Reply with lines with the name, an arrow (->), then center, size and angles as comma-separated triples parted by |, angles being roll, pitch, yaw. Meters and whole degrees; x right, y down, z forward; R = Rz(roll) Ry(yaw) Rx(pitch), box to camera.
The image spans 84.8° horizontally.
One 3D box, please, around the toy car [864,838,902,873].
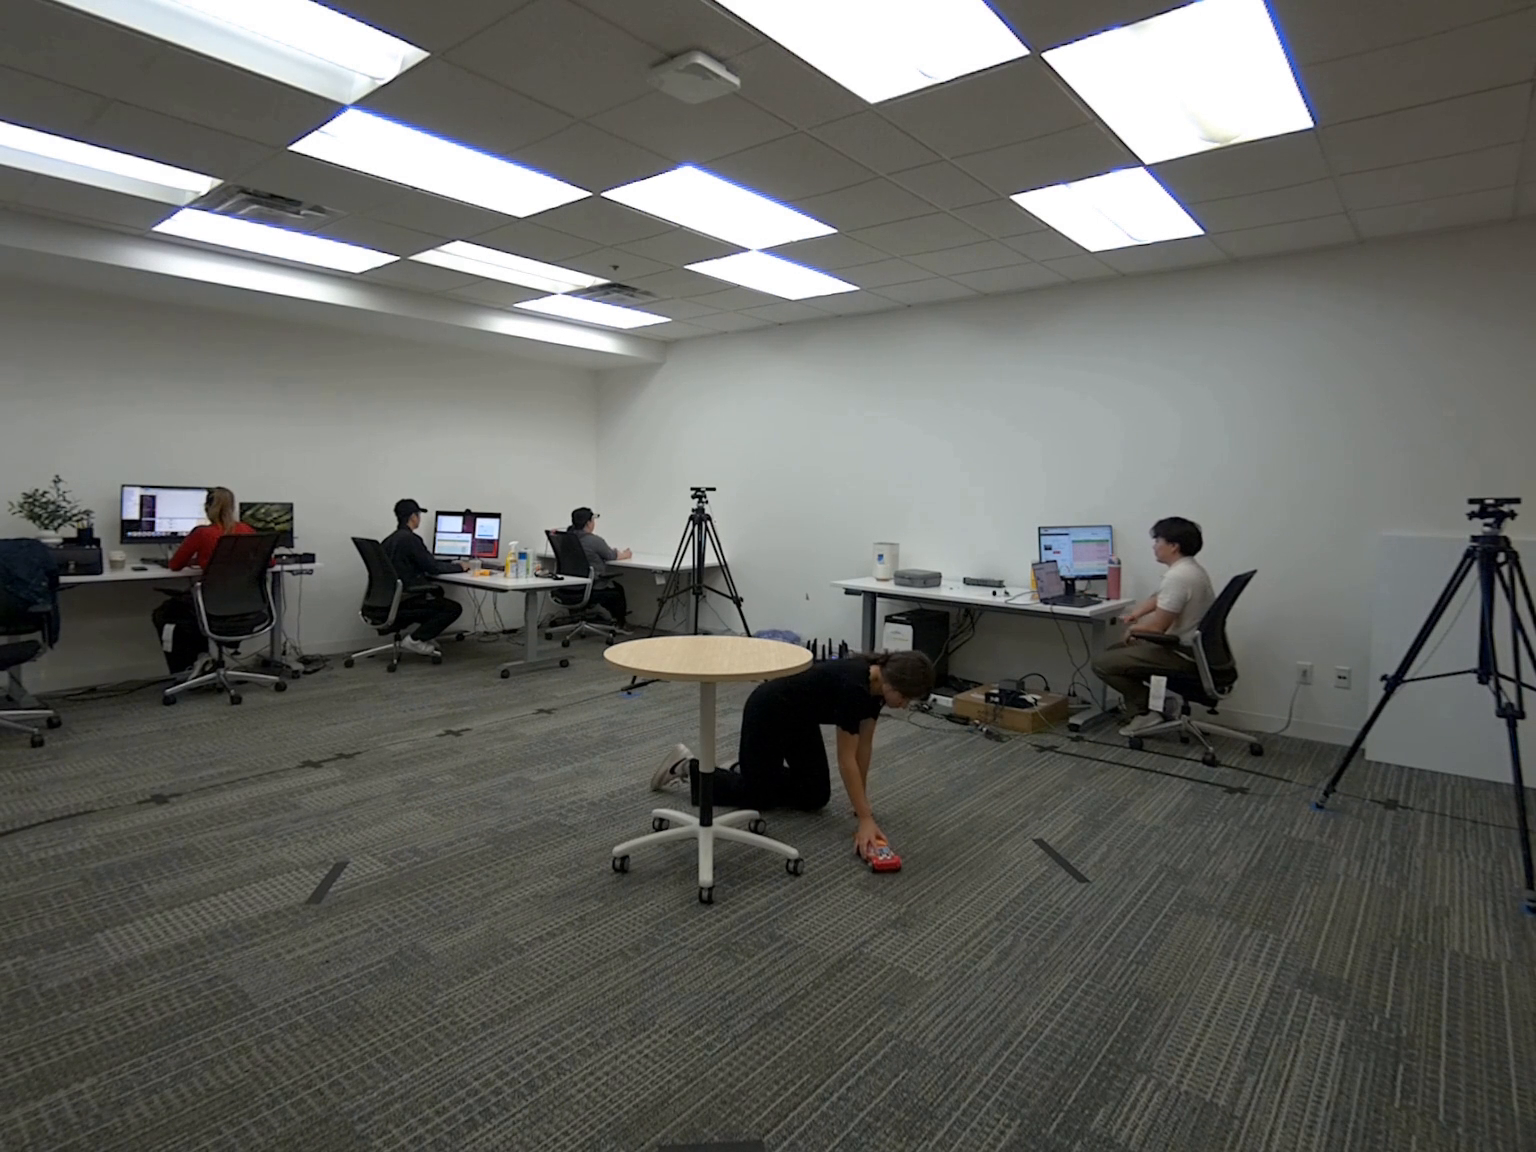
toy car -> 0.404, 1.039, 3.220 | 0.129, 0.082, 0.261 | 1, 16, -11
